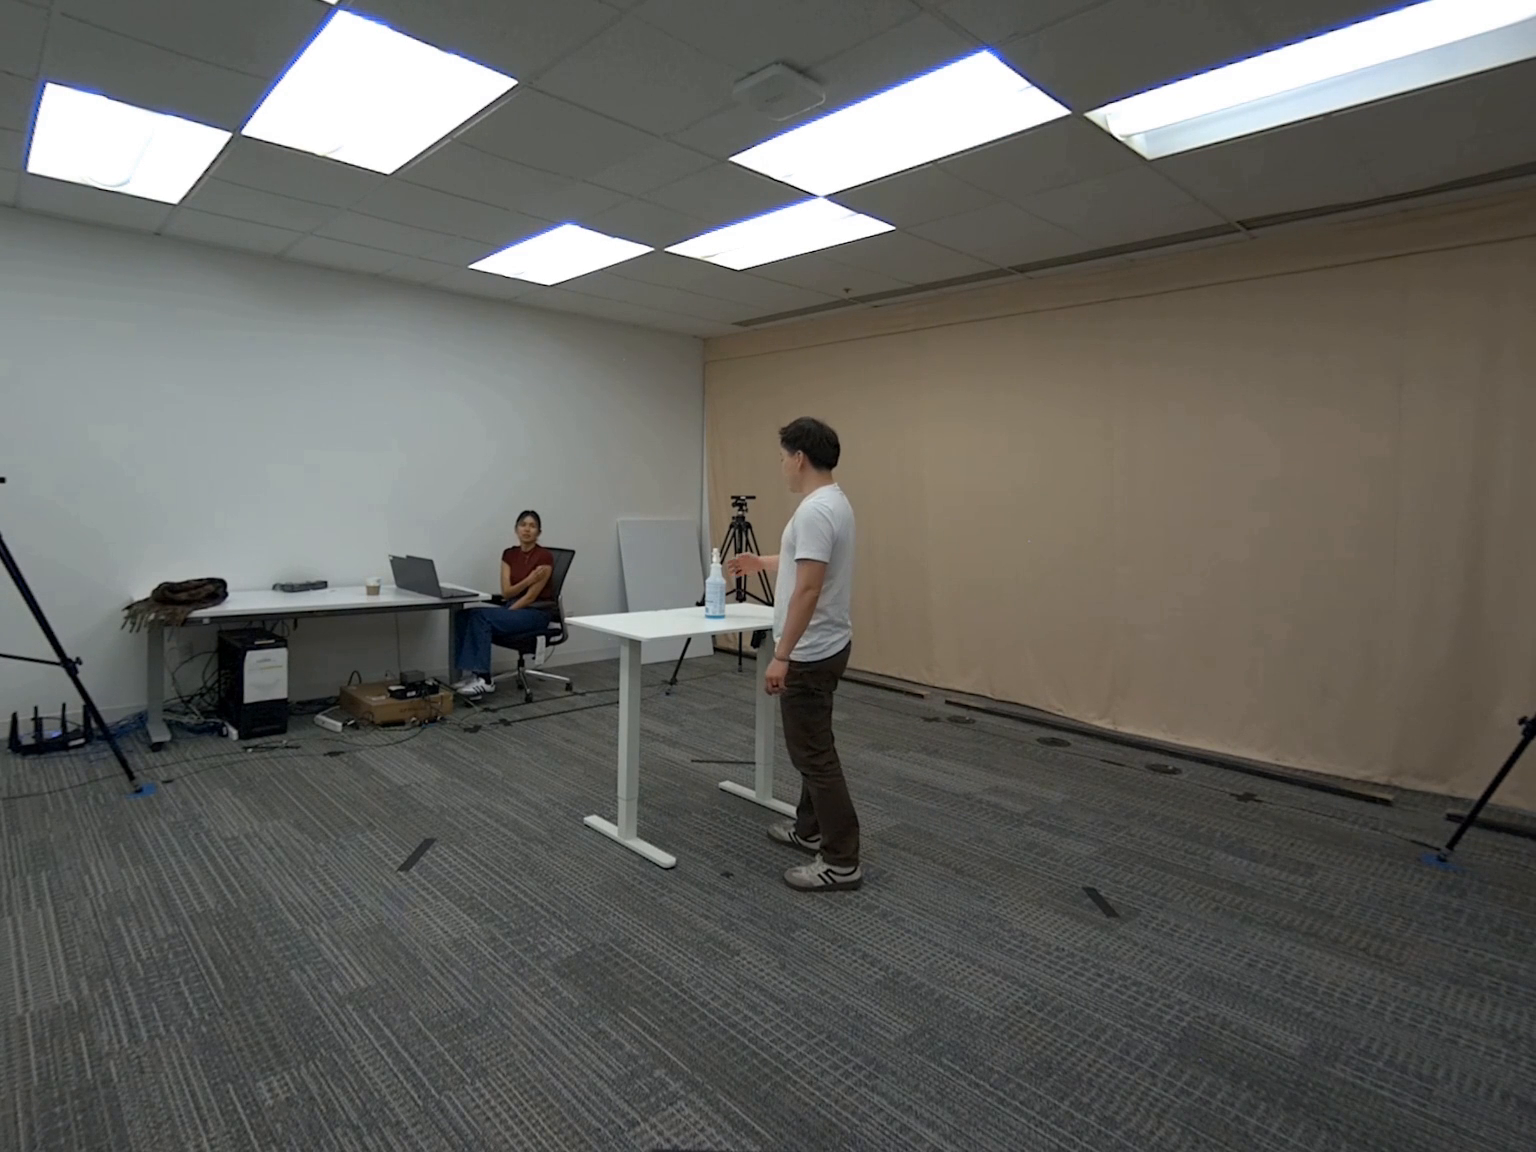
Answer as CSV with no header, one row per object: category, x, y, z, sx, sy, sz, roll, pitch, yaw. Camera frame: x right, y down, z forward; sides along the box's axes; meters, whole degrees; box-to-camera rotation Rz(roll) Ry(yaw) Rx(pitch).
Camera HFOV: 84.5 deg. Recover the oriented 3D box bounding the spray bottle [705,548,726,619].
spray bottle,-0.231,0.033,3.570,0.089,0.296,0.088,4,6,27
